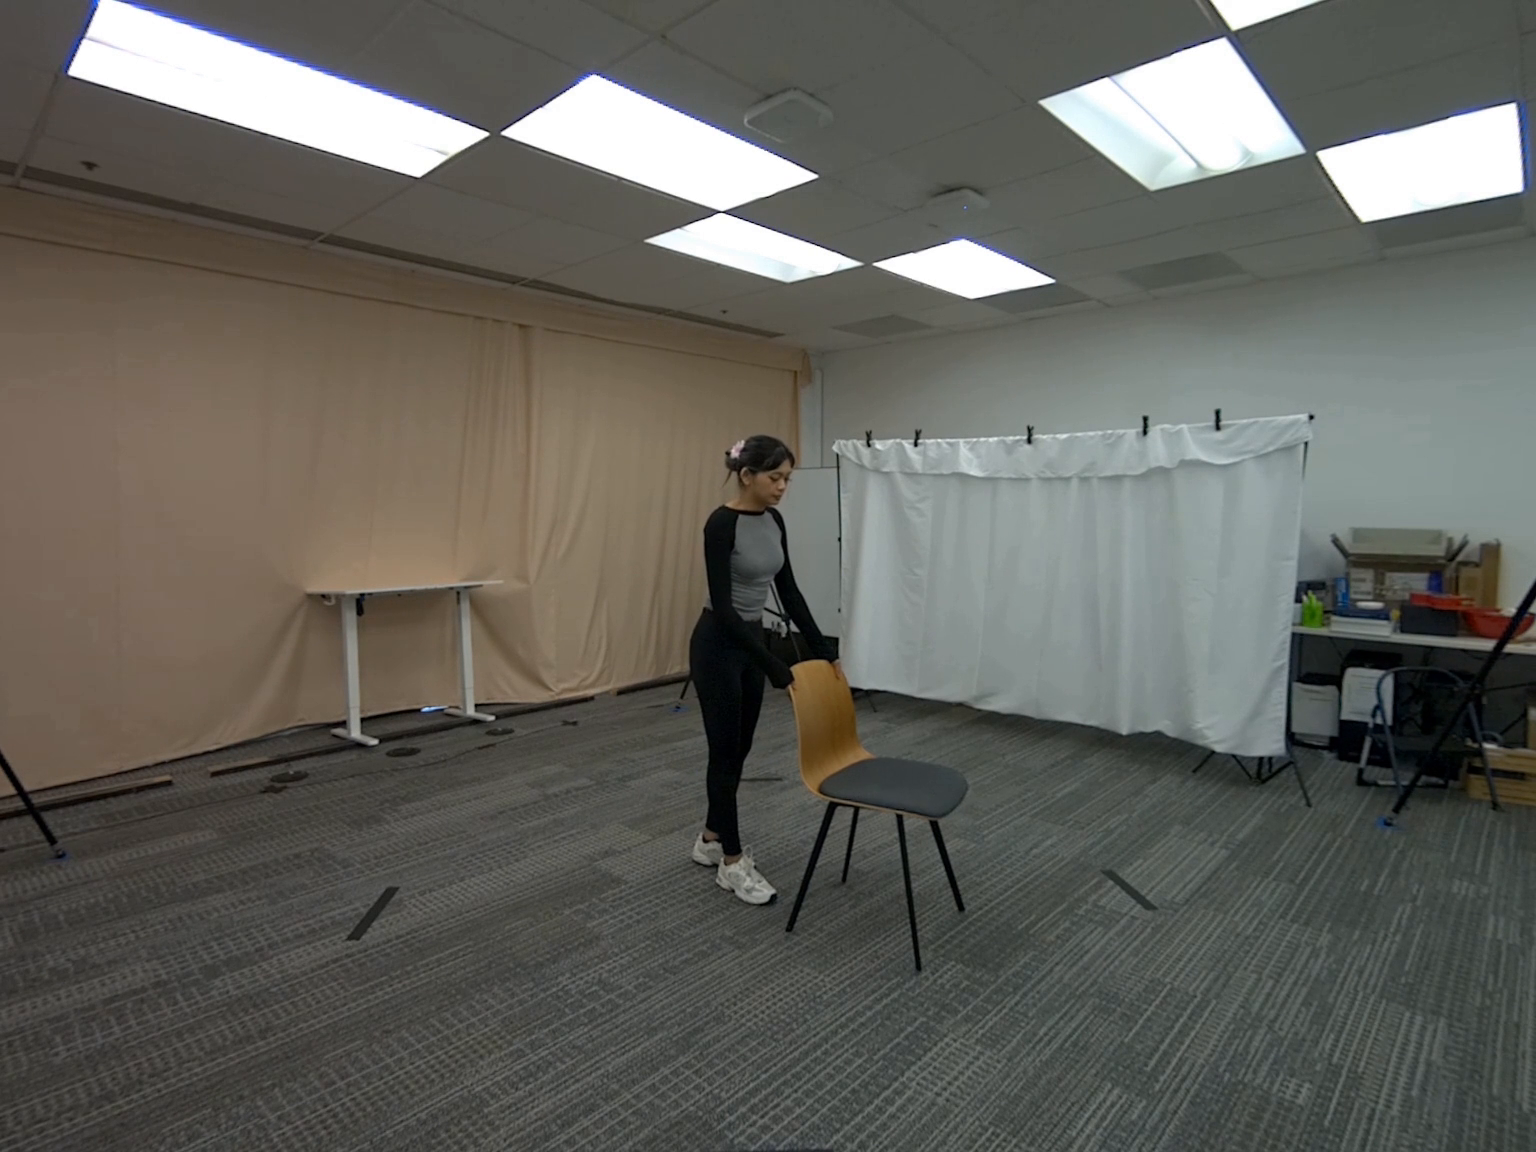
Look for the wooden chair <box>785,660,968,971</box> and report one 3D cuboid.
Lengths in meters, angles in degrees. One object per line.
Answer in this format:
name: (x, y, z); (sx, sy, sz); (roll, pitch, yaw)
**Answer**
wooden chair: (0.372, 0.728, 2.790); (0.538, 0.877, 0.465); (-5, 0, 31)
